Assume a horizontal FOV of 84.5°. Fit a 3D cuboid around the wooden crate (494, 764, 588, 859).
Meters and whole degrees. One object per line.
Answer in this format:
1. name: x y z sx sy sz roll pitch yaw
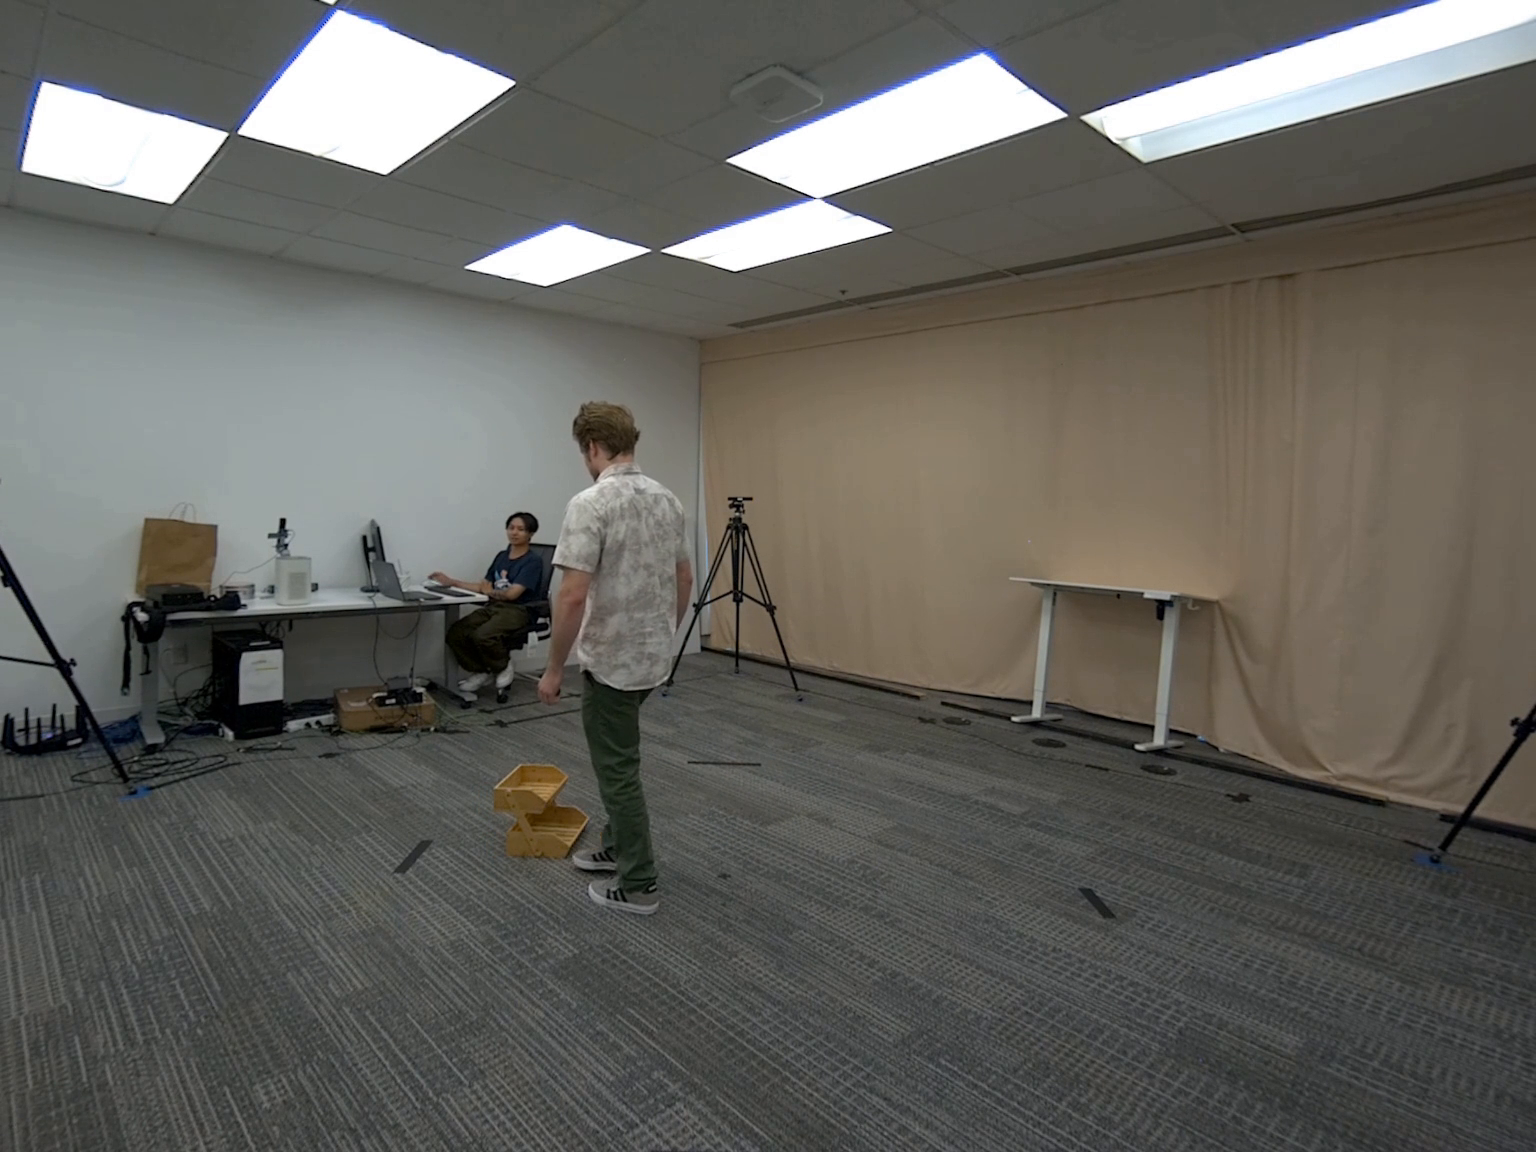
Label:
1. wooden crate: -0.905 0.932 3.376 0.303 0.272 0.324 1 4 3
